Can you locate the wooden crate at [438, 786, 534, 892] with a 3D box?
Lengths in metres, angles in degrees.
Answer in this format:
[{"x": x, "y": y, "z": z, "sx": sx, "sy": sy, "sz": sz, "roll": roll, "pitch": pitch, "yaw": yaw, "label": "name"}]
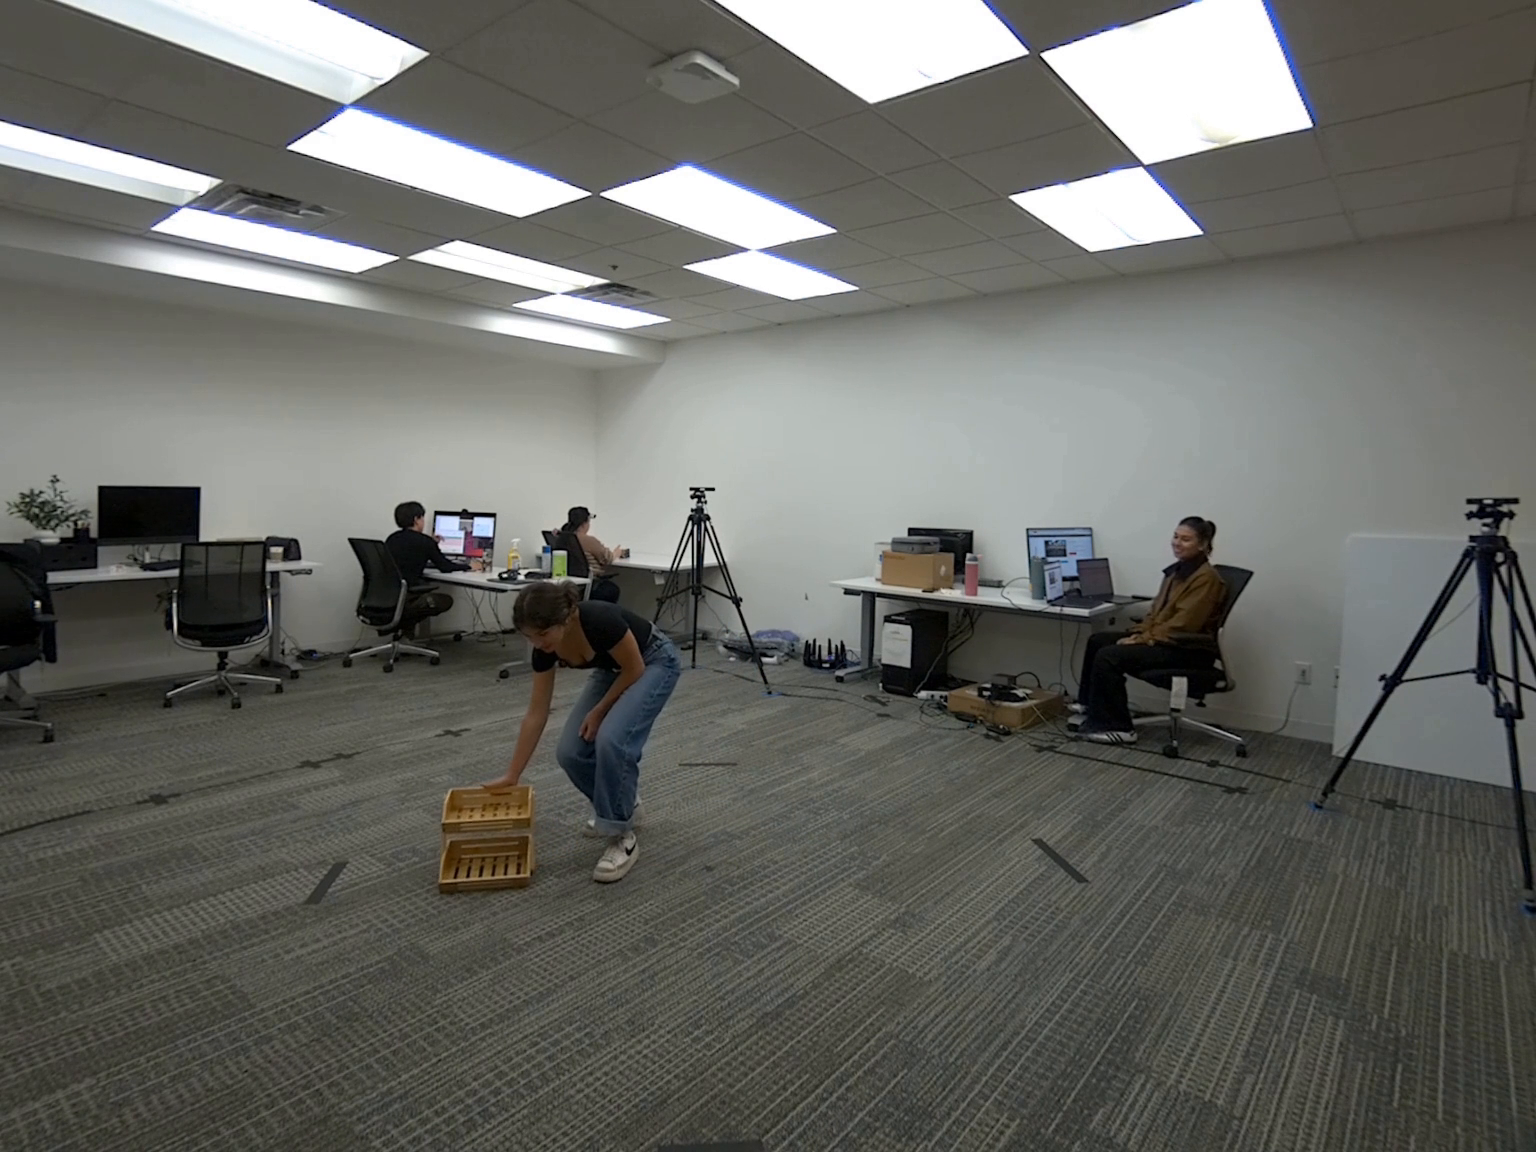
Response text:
[{"x": -1.010, "y": 0.929, "z": 3.032, "sx": 0.320, "sy": 0.272, "sz": 0.307, "roll": -1, "pitch": 4, "yaw": -13, "label": "wooden crate"}]
